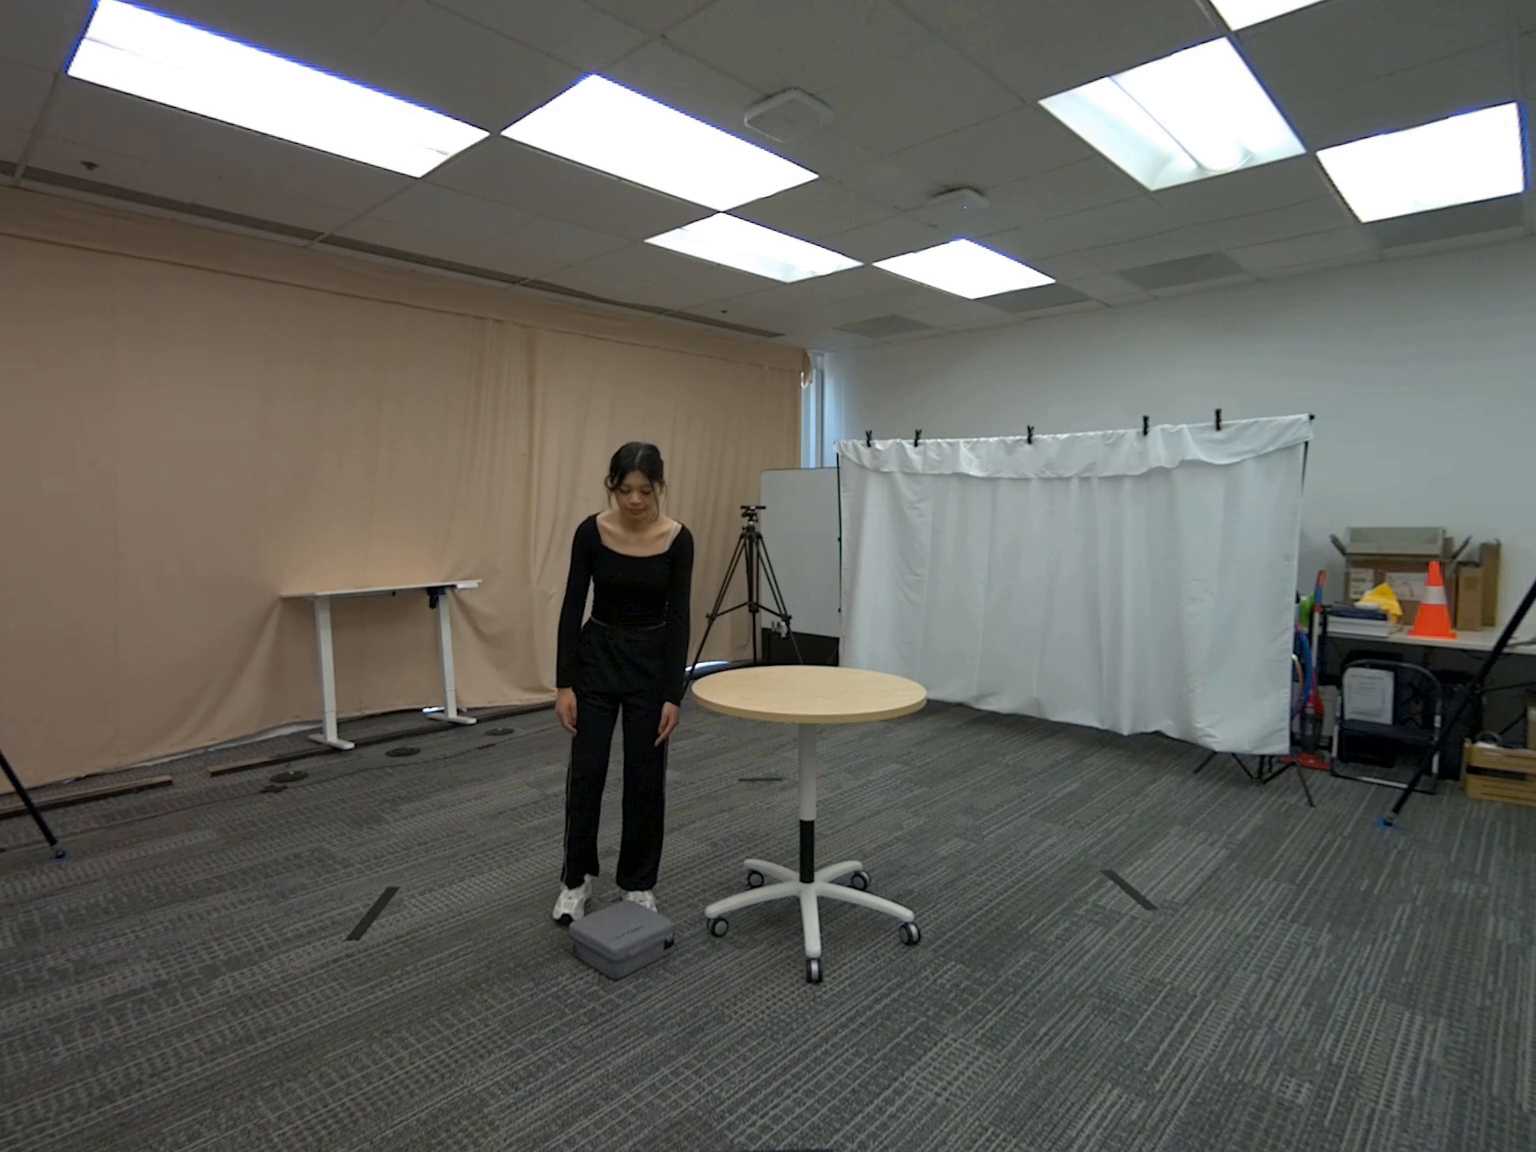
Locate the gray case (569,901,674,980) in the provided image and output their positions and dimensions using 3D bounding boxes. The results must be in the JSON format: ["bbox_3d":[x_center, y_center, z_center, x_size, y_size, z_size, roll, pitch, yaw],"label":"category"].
[{"bbox_3d":[-0.455,1.116,2.625,0.269,0.104,0.249,3,6,44],"label":"gray case"}]
